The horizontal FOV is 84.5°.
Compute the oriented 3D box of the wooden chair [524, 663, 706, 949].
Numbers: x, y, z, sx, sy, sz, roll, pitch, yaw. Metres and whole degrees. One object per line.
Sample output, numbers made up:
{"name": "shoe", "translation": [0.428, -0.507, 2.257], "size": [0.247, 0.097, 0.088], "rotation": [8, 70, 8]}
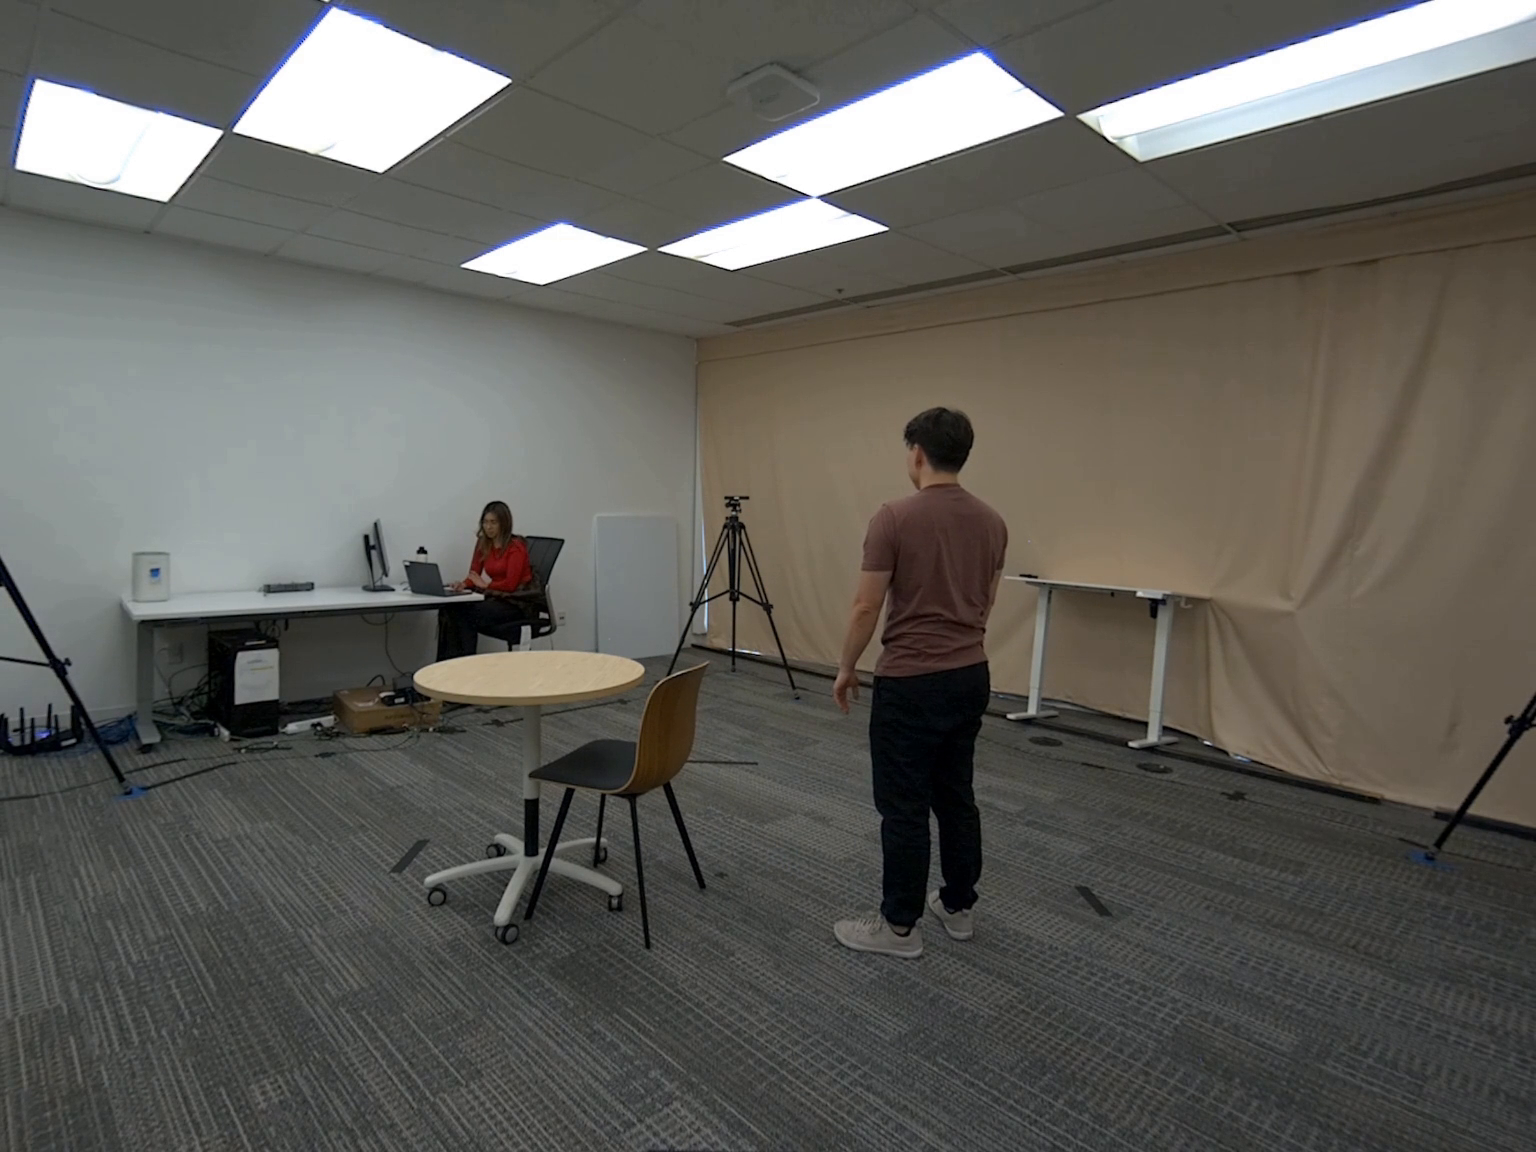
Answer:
{"name": "wooden chair", "translation": [-0.502, 0.686, 2.842], "size": [0.532, 0.874, 0.471], "rotation": [7, 6, 21]}
